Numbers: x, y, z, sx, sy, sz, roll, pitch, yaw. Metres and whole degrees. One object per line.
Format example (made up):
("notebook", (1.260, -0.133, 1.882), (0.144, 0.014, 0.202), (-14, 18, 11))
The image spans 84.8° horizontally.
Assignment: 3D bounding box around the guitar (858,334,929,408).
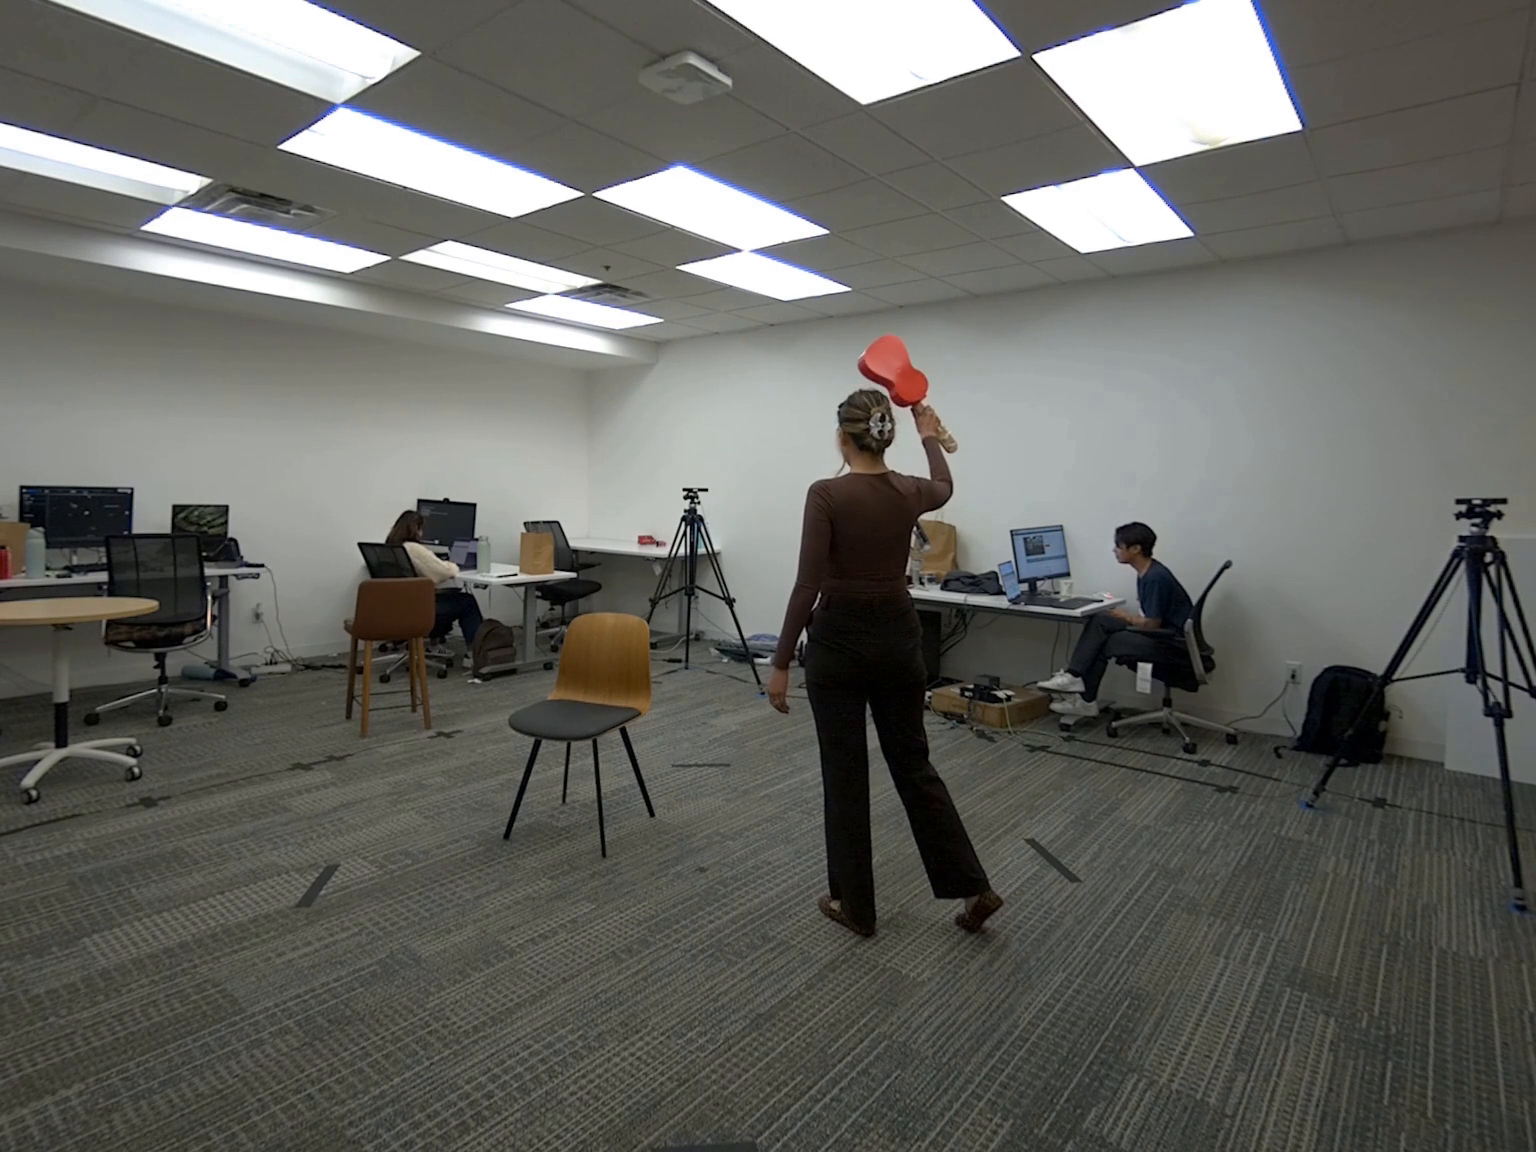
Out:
("guitar", (0.544, -0.679, 3.141), (0.495, 0.193, 0.071), (42, -23, -3))
